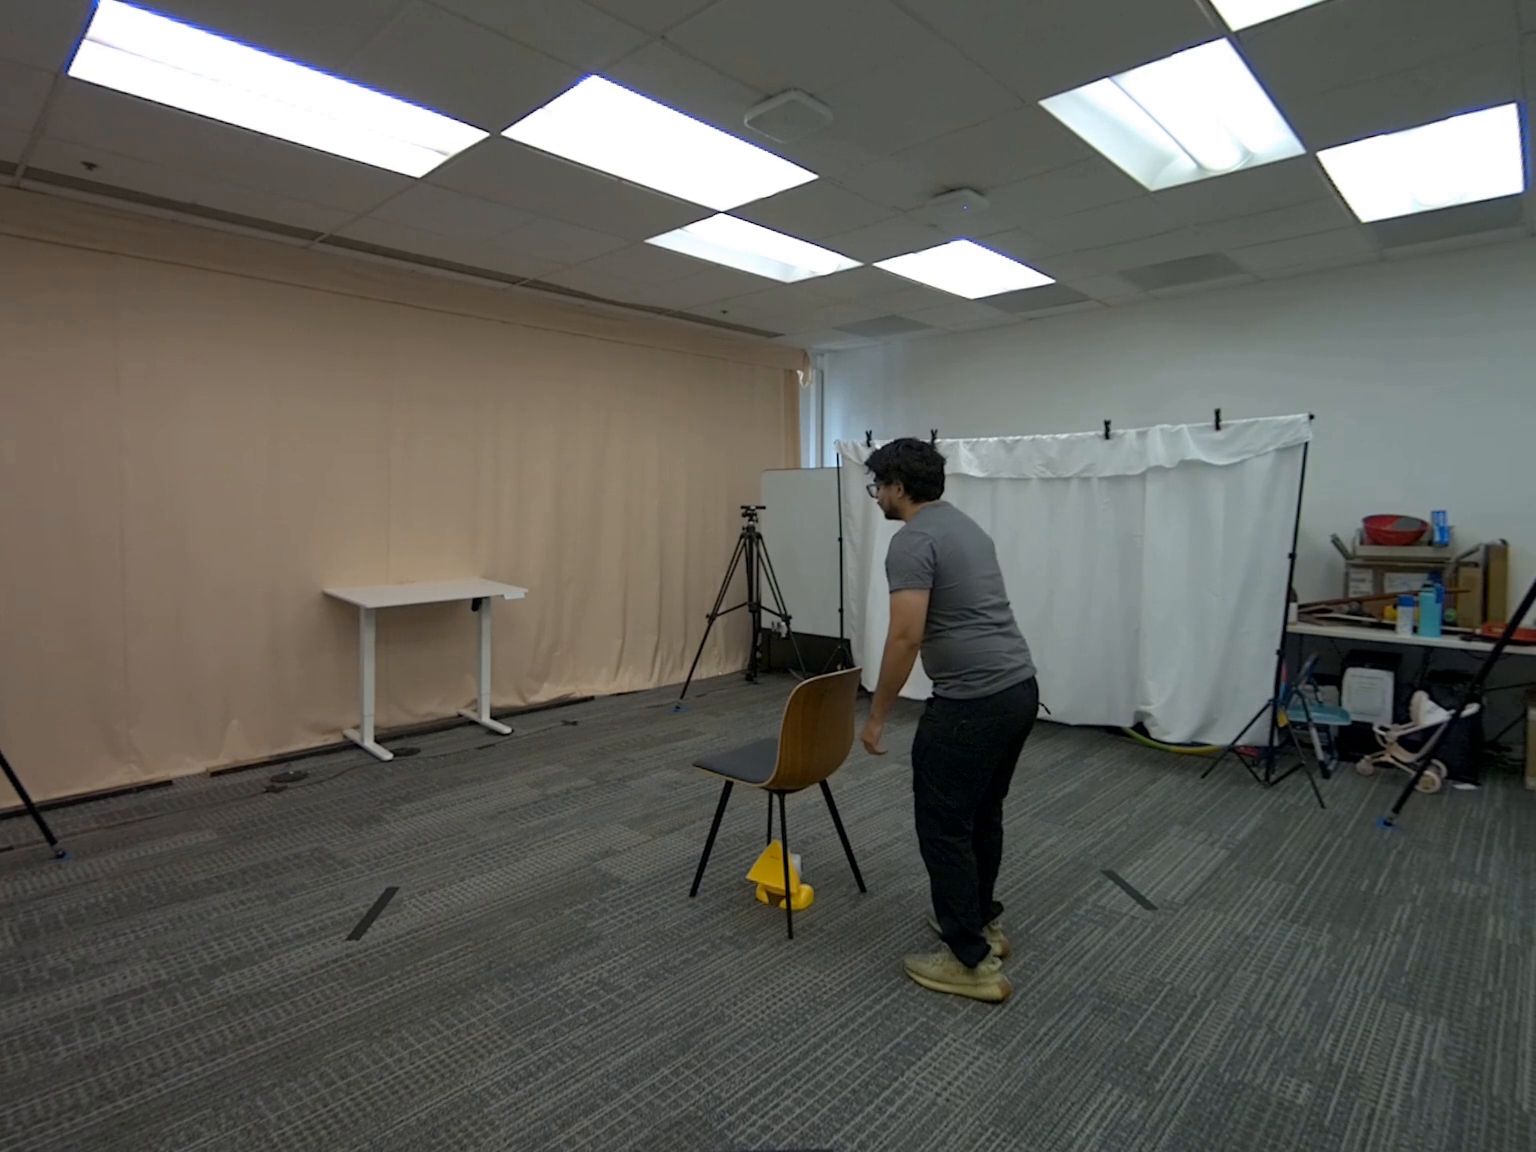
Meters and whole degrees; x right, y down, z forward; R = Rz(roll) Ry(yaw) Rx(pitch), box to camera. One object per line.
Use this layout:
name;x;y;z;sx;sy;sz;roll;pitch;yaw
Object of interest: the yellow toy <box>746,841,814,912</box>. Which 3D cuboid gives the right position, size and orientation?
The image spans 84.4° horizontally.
yellow toy;0.061;1.029;2.979;0.211;0.230;0.188;3;5;34
